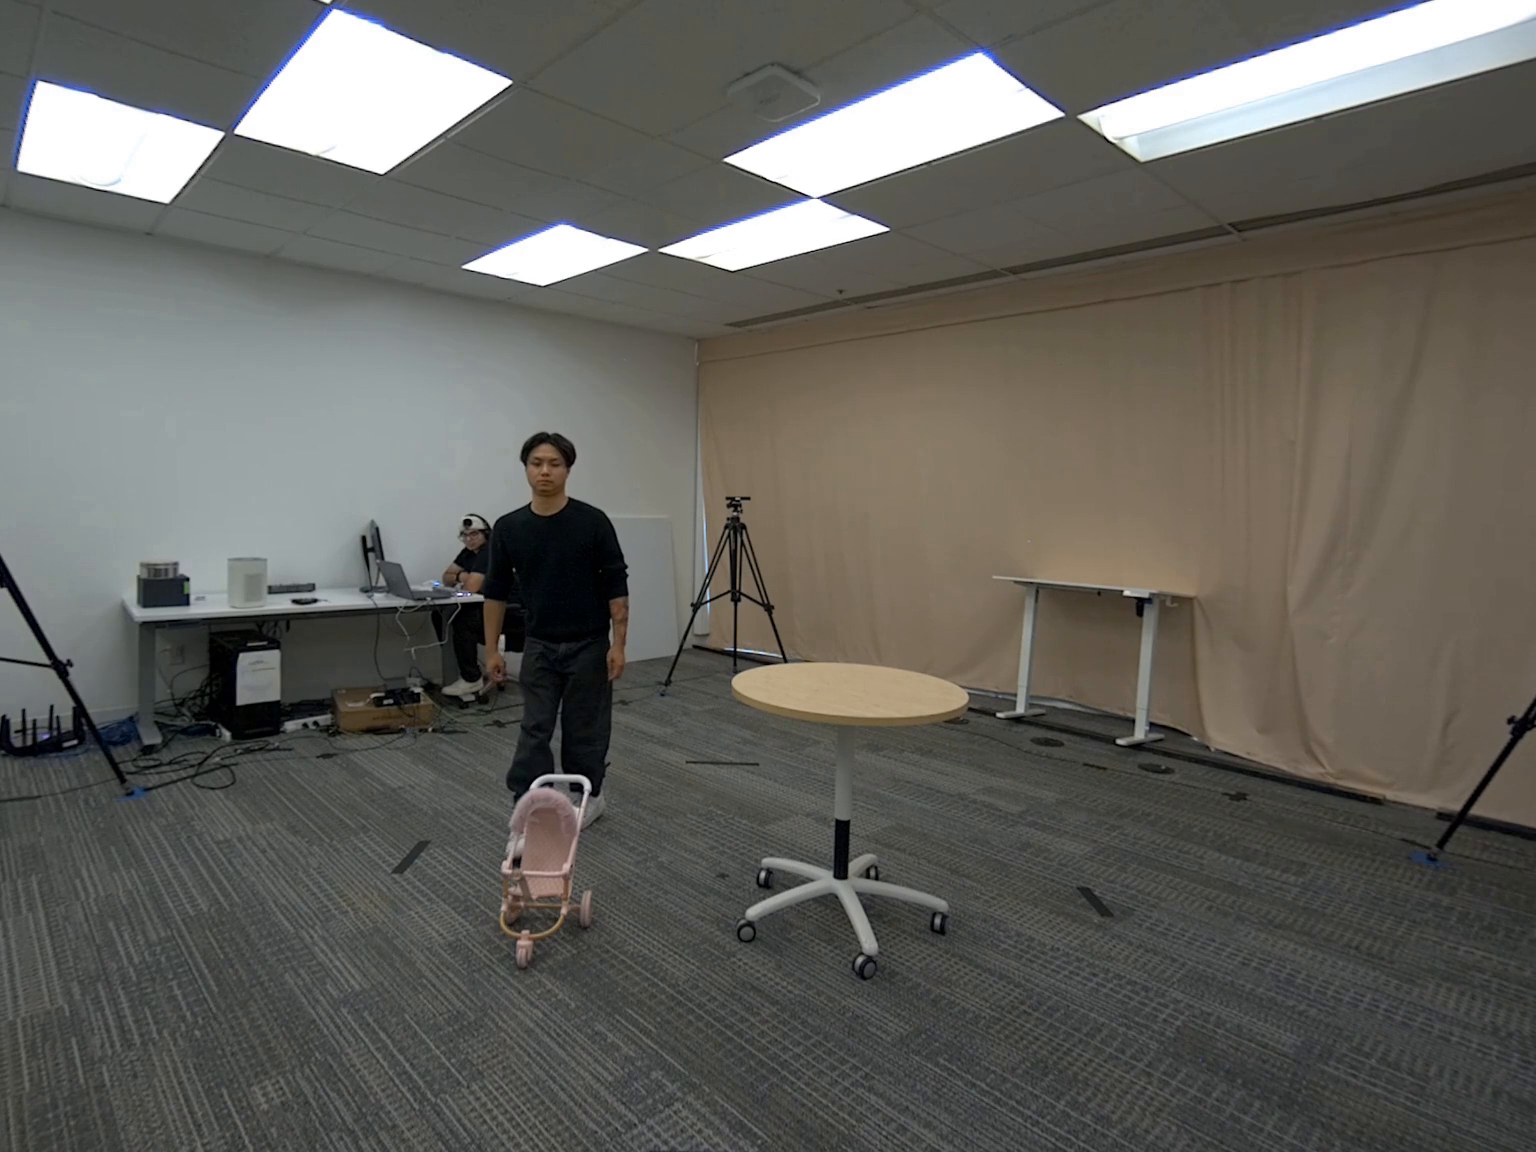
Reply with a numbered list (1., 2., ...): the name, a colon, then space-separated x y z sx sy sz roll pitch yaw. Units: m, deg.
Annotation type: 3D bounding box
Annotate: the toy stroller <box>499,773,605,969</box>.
1. toy stroller: -0.719 0.915 2.648 0.283 0.539 0.336 1 -12 6
